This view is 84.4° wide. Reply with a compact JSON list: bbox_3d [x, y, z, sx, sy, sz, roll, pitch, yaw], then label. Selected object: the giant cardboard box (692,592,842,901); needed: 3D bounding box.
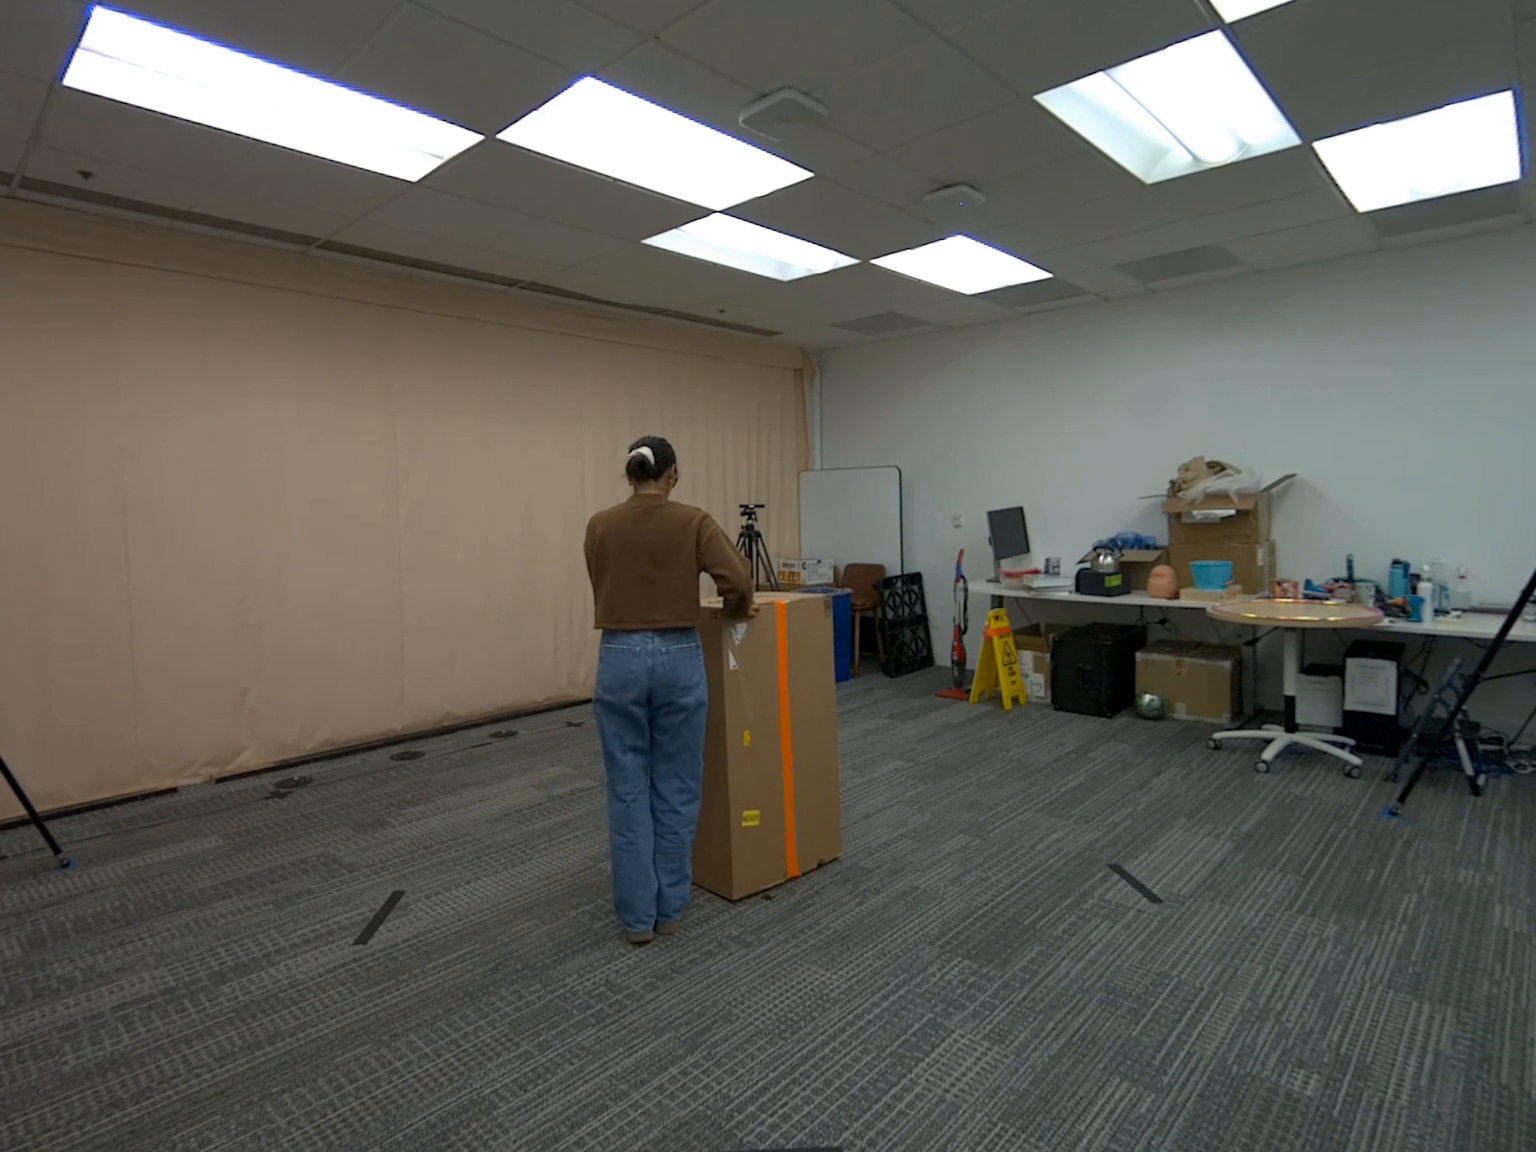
[{"bbox_3d":[-0.072,0.602,3.264,0.560,1.025,0.440,-4,2,-41],"label":"giant cardboard box"}]
